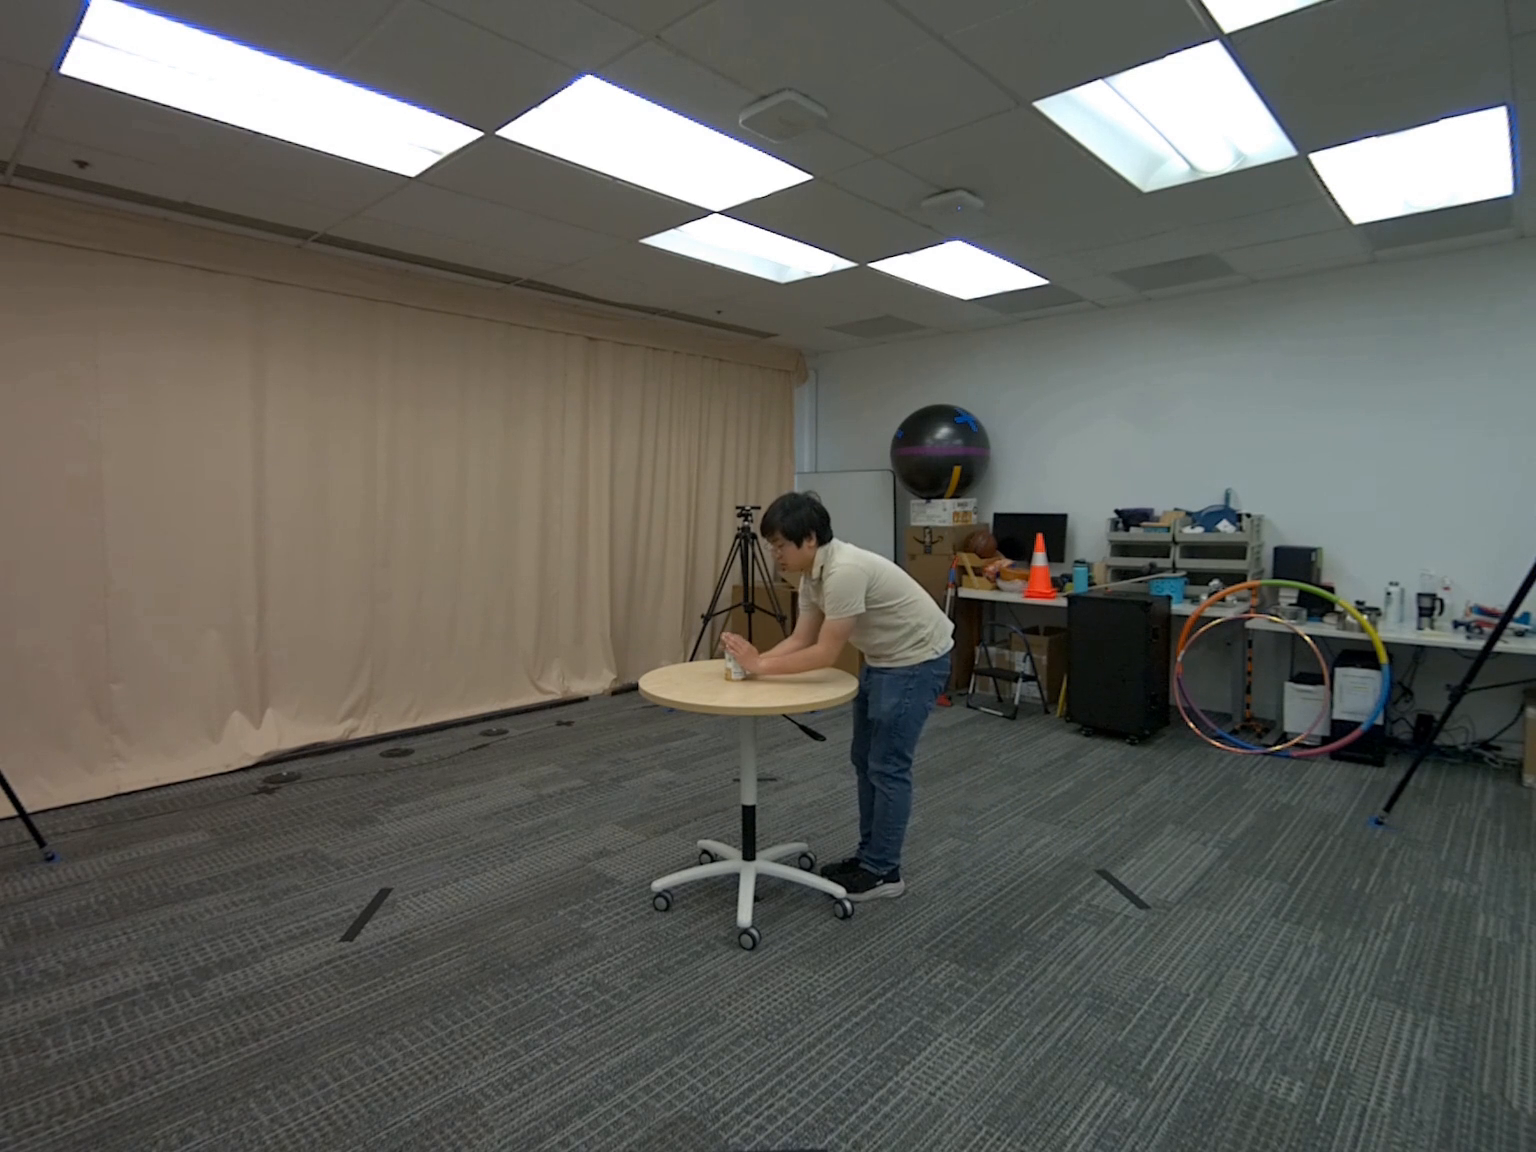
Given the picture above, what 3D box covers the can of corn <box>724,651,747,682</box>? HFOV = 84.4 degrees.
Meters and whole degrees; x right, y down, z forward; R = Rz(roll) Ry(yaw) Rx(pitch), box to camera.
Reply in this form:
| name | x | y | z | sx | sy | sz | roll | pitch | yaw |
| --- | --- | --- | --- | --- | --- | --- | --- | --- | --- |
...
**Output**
| name | x | y | z | sx | sy | sz | roll | pitch | yaw |
| --- | --- | --- | --- | --- | --- | --- | --- | --- | --- |
| can of corn | -0.116 | 0.312 | 2.965 | 0.074 | 0.111 | 0.074 | 1 | 3 | -2 |
